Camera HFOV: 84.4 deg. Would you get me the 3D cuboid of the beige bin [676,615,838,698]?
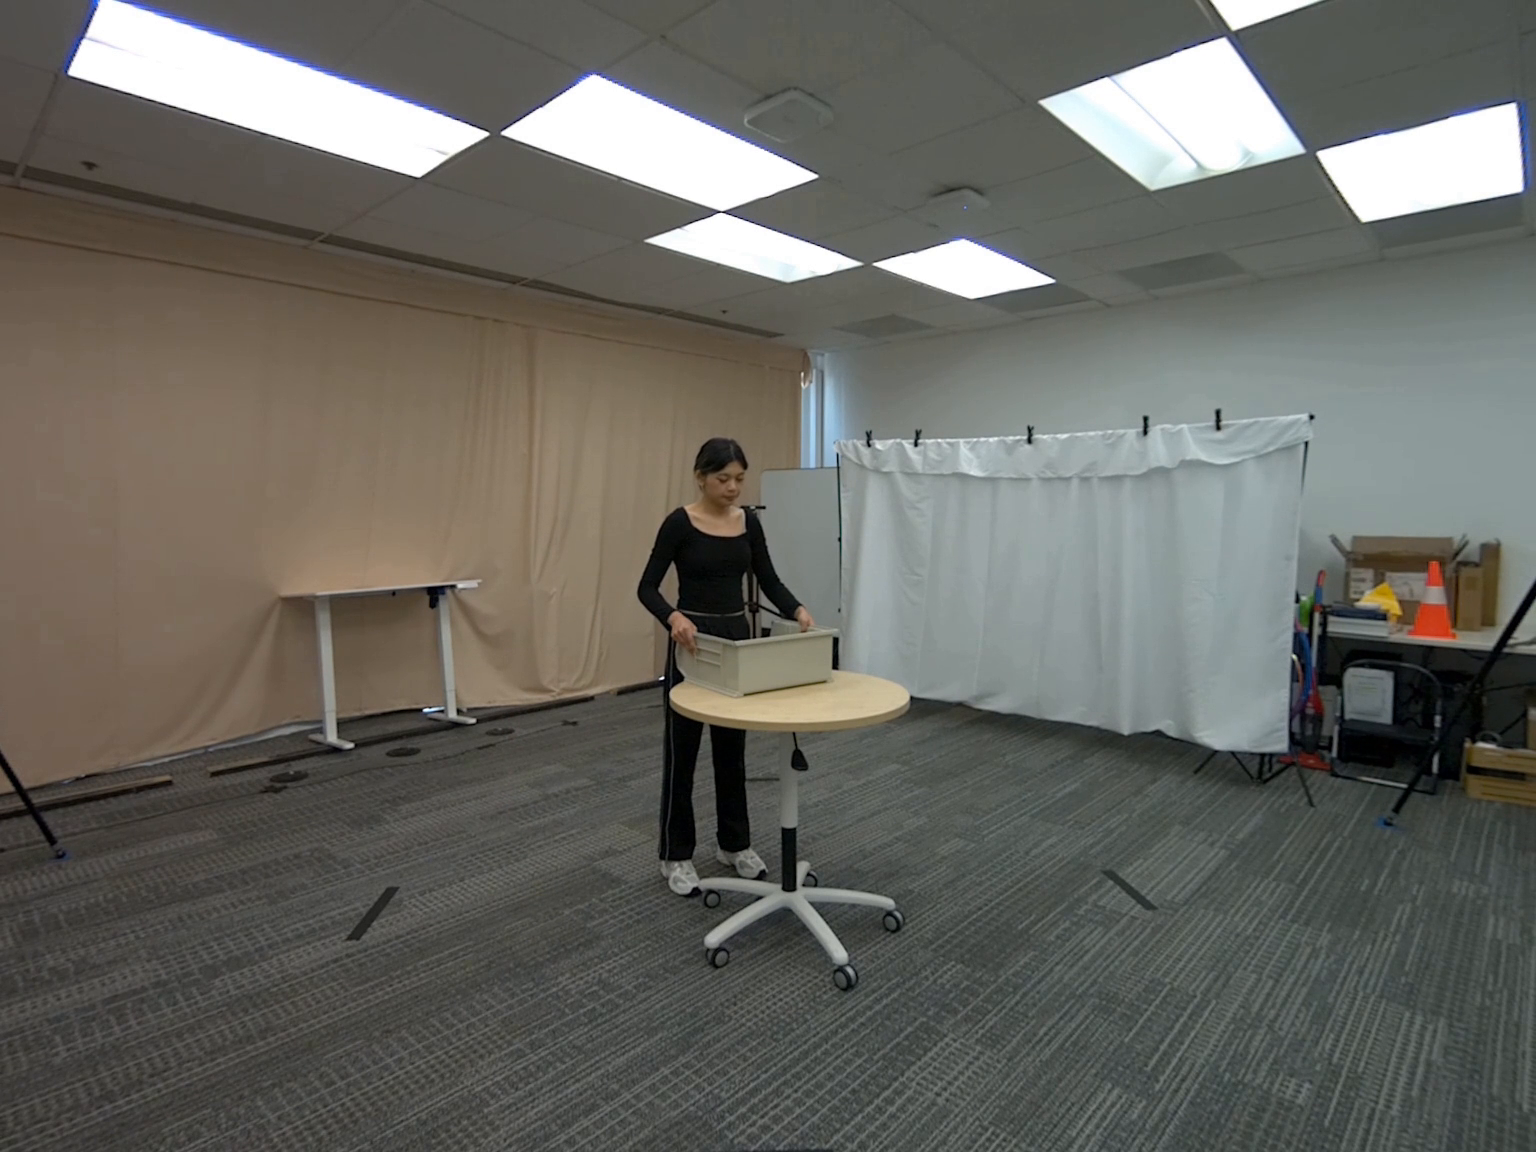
[{"bbox_3d":[-0.047,0.264,2.883,0.410,0.188,0.390,-3,8,-34],"label":"beige bin"}]
